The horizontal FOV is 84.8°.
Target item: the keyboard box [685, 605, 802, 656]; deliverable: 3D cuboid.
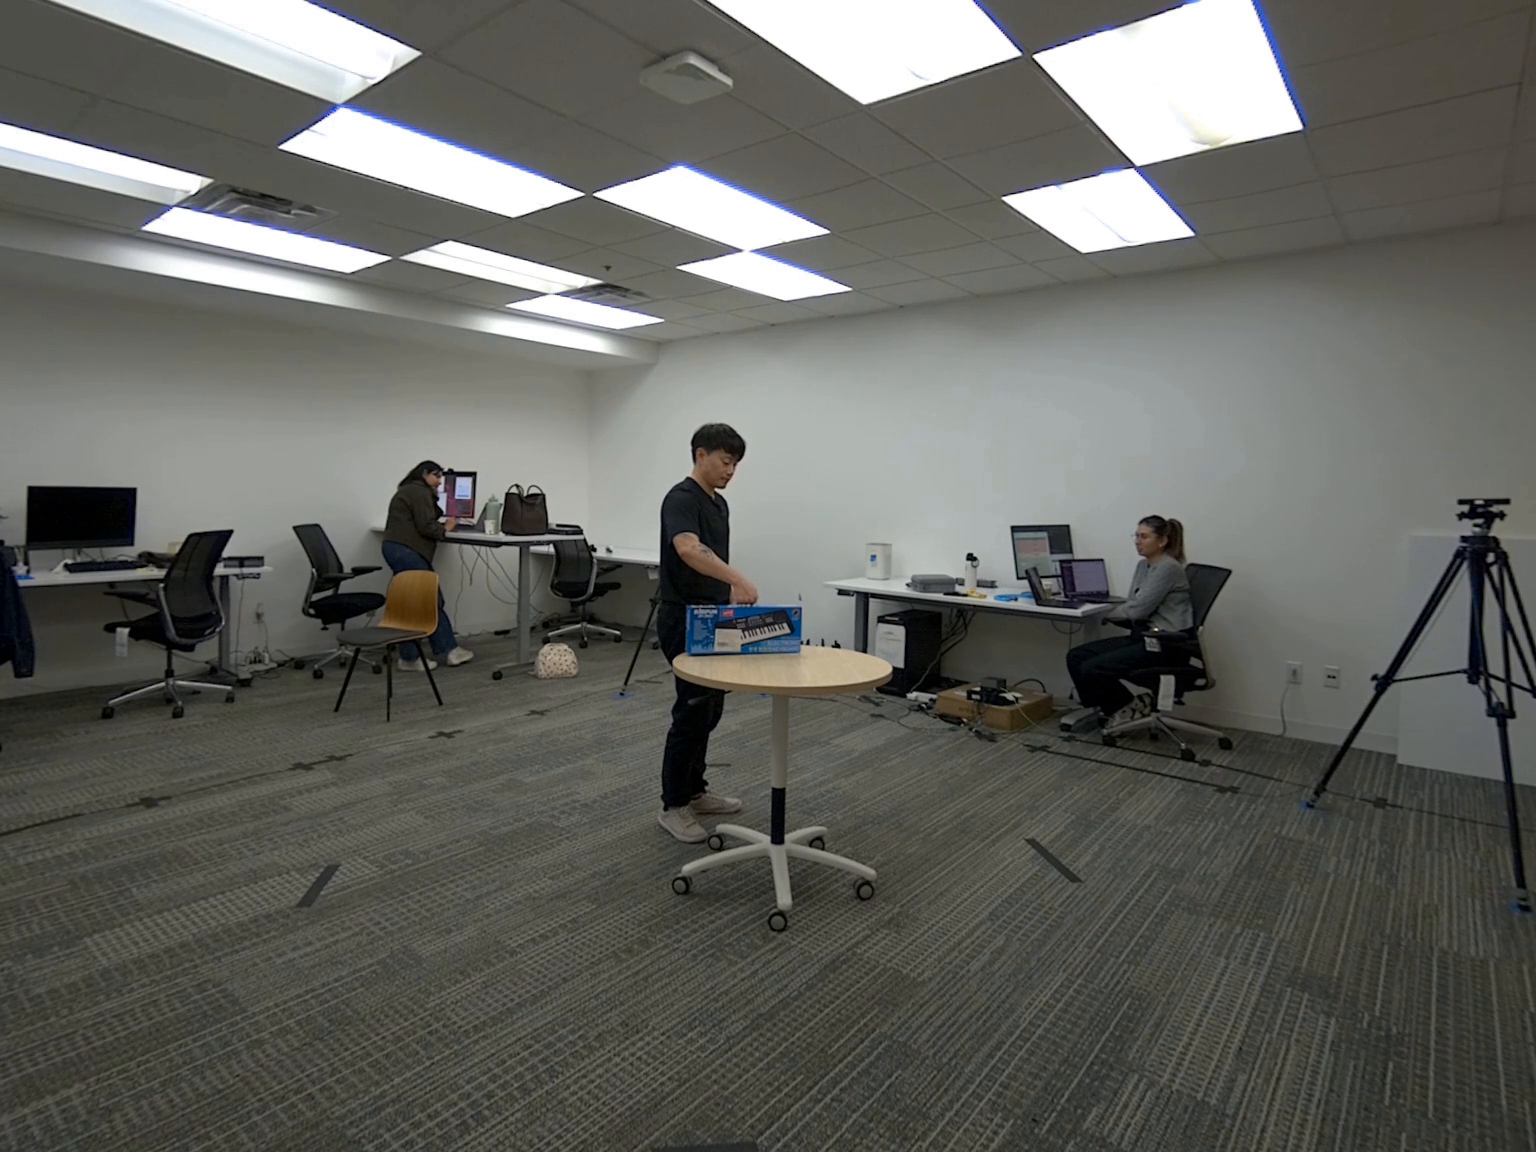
[{"bbox_3d":[-0.095,0.190,3.152,0.429,0.175,0.060,0,3,-18],"label":"keyboard box"}]
